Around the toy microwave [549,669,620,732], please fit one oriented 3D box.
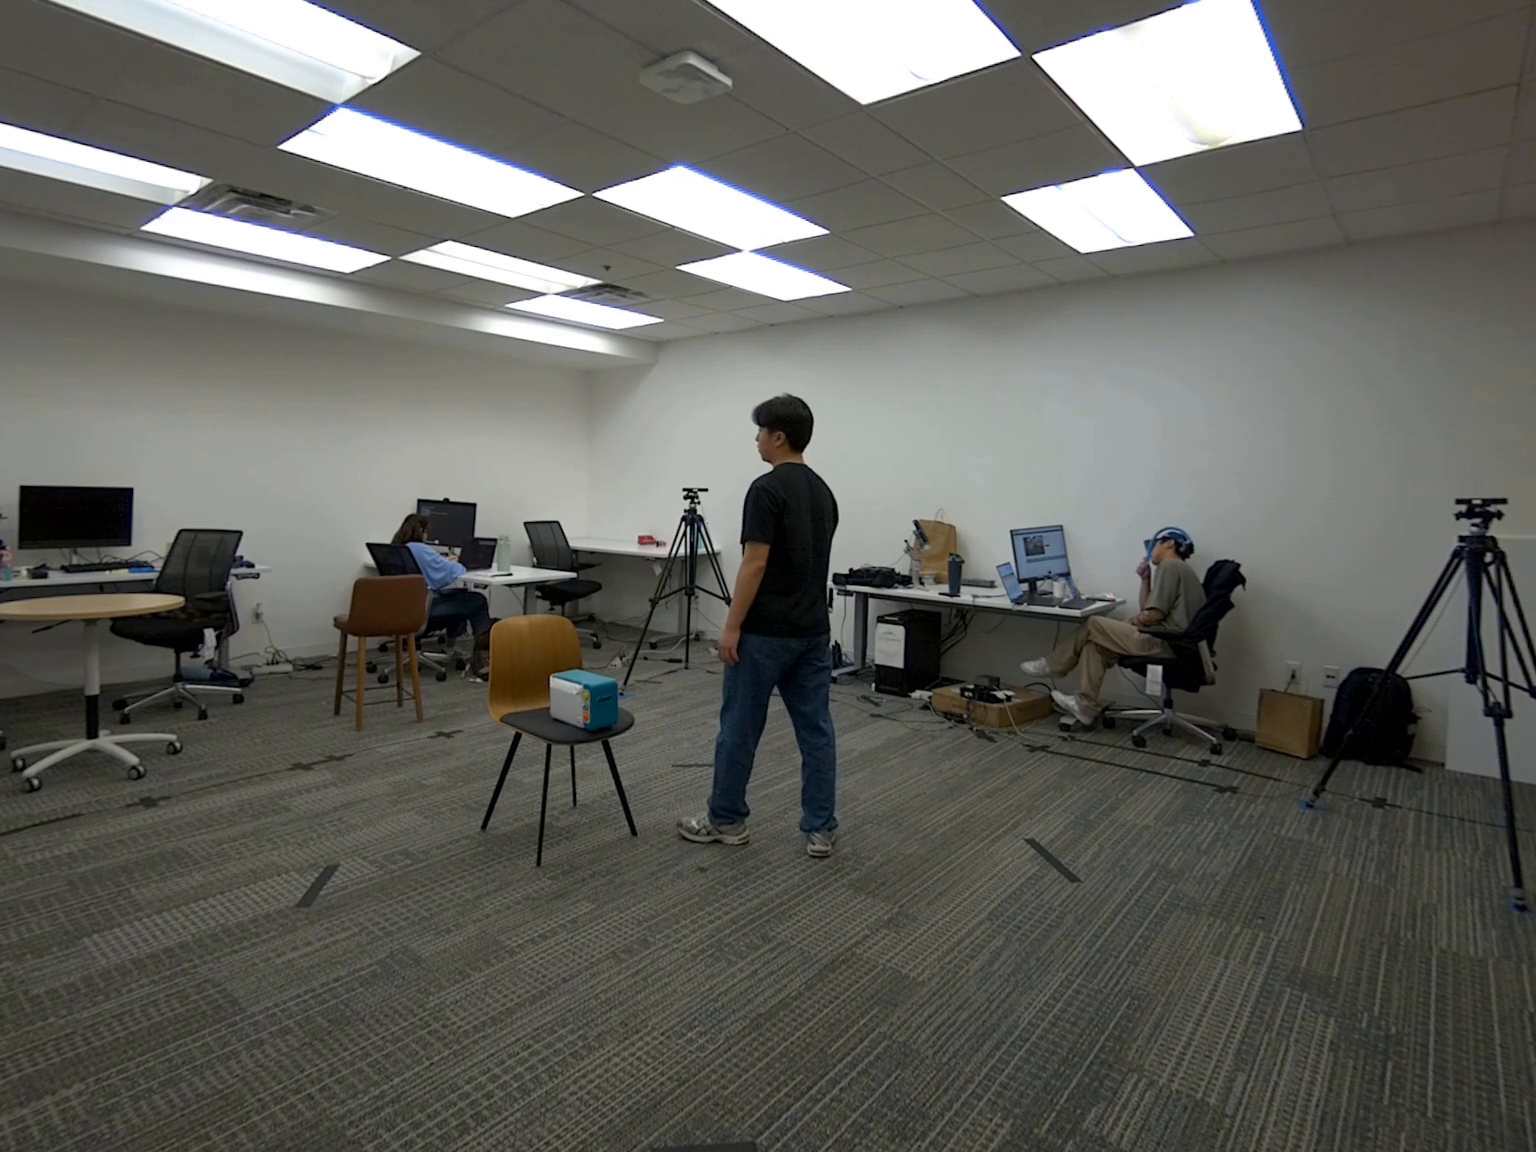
[{"bbox_3d":[-0.735,0.474,3.294,0.296,0.183,0.148,5,7,44],"label":"toy microwave"}]
